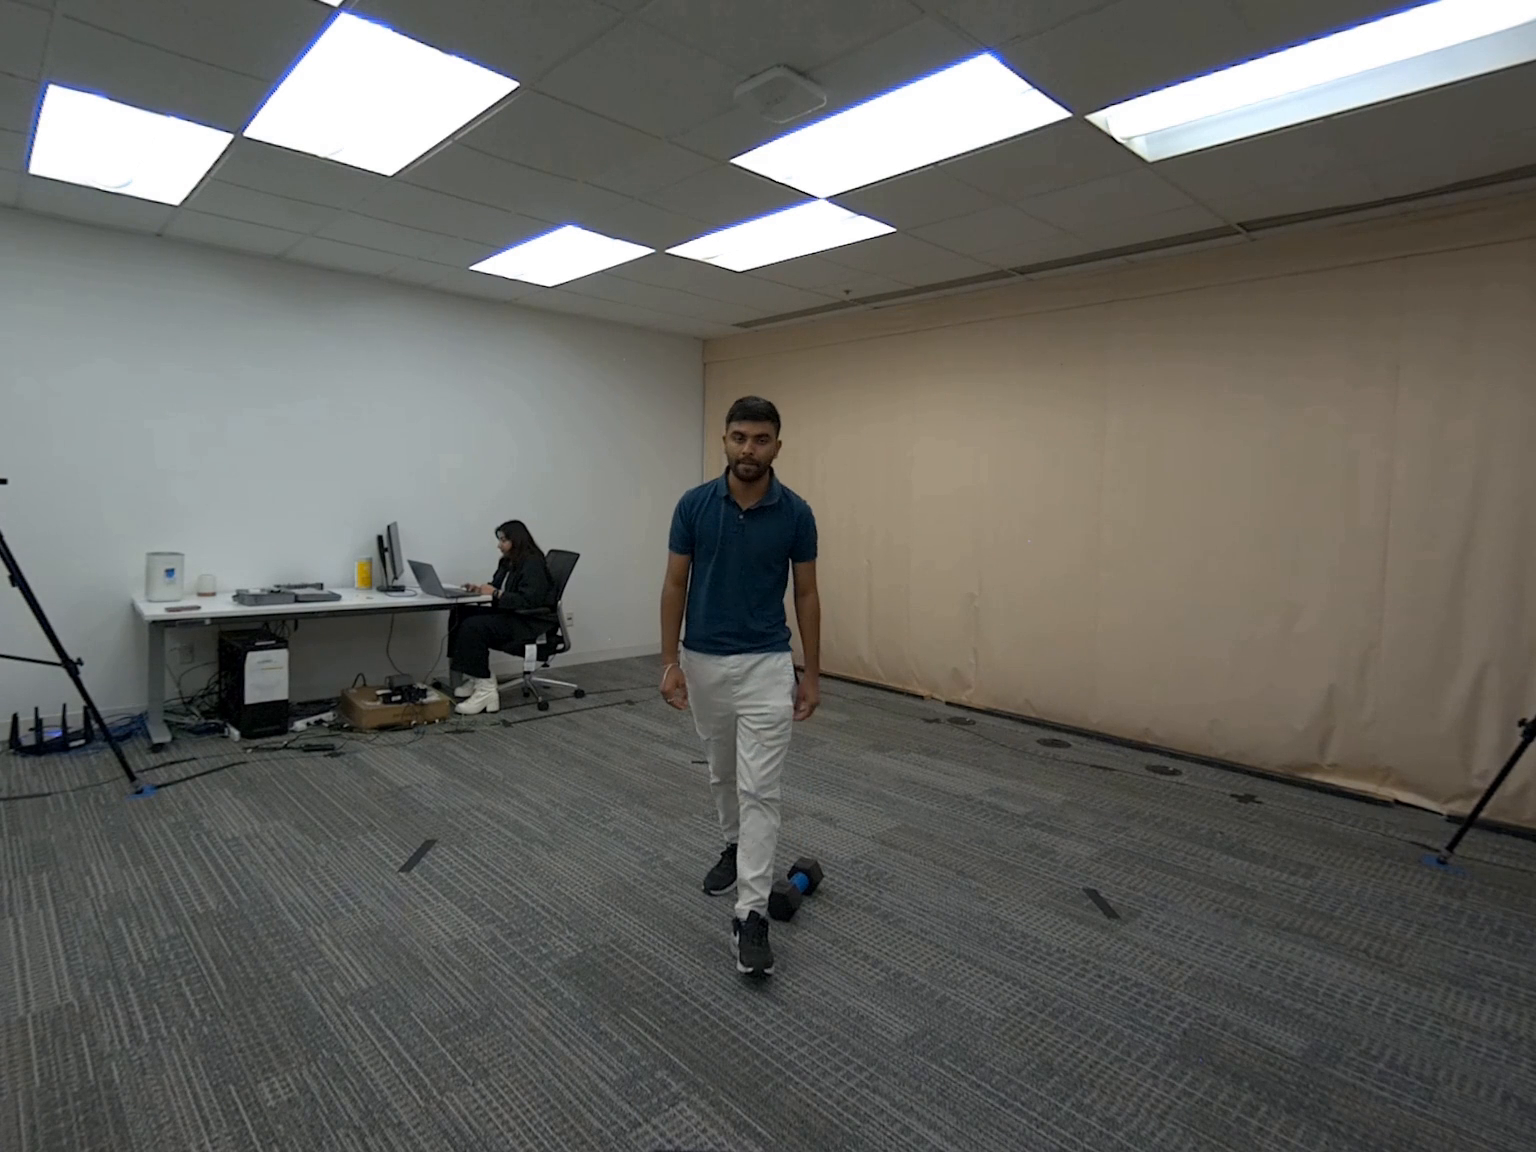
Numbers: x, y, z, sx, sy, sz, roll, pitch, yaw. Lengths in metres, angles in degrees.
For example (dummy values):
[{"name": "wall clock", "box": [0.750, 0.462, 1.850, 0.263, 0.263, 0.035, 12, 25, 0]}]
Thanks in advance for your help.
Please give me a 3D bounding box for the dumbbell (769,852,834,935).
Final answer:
[{"name": "dumbbell", "box": [0.100, 1.078, 2.898, 0.111, 0.122, 0.288, 33, 16, 19]}]
